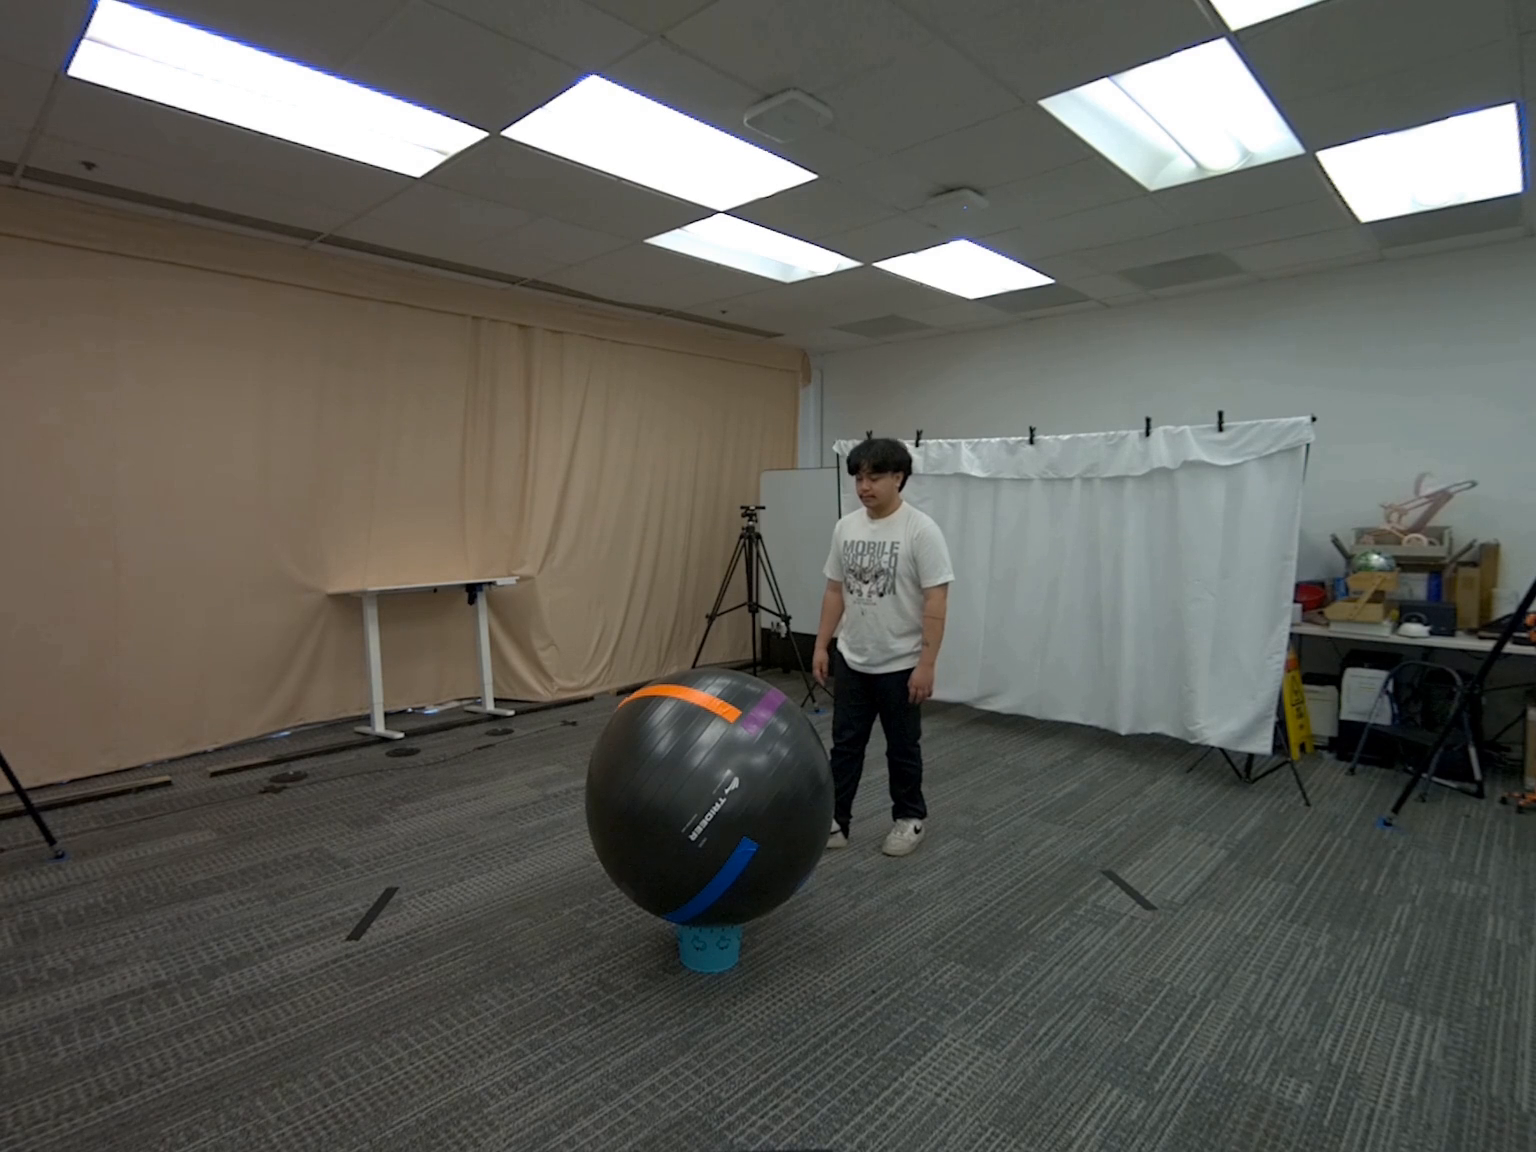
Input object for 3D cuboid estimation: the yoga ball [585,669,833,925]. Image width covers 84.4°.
[{"bbox_3d":[-0.180,0.666,2.581,0.757,0.756,0.760,0,4,-2],"label":"yoga ball"}]
